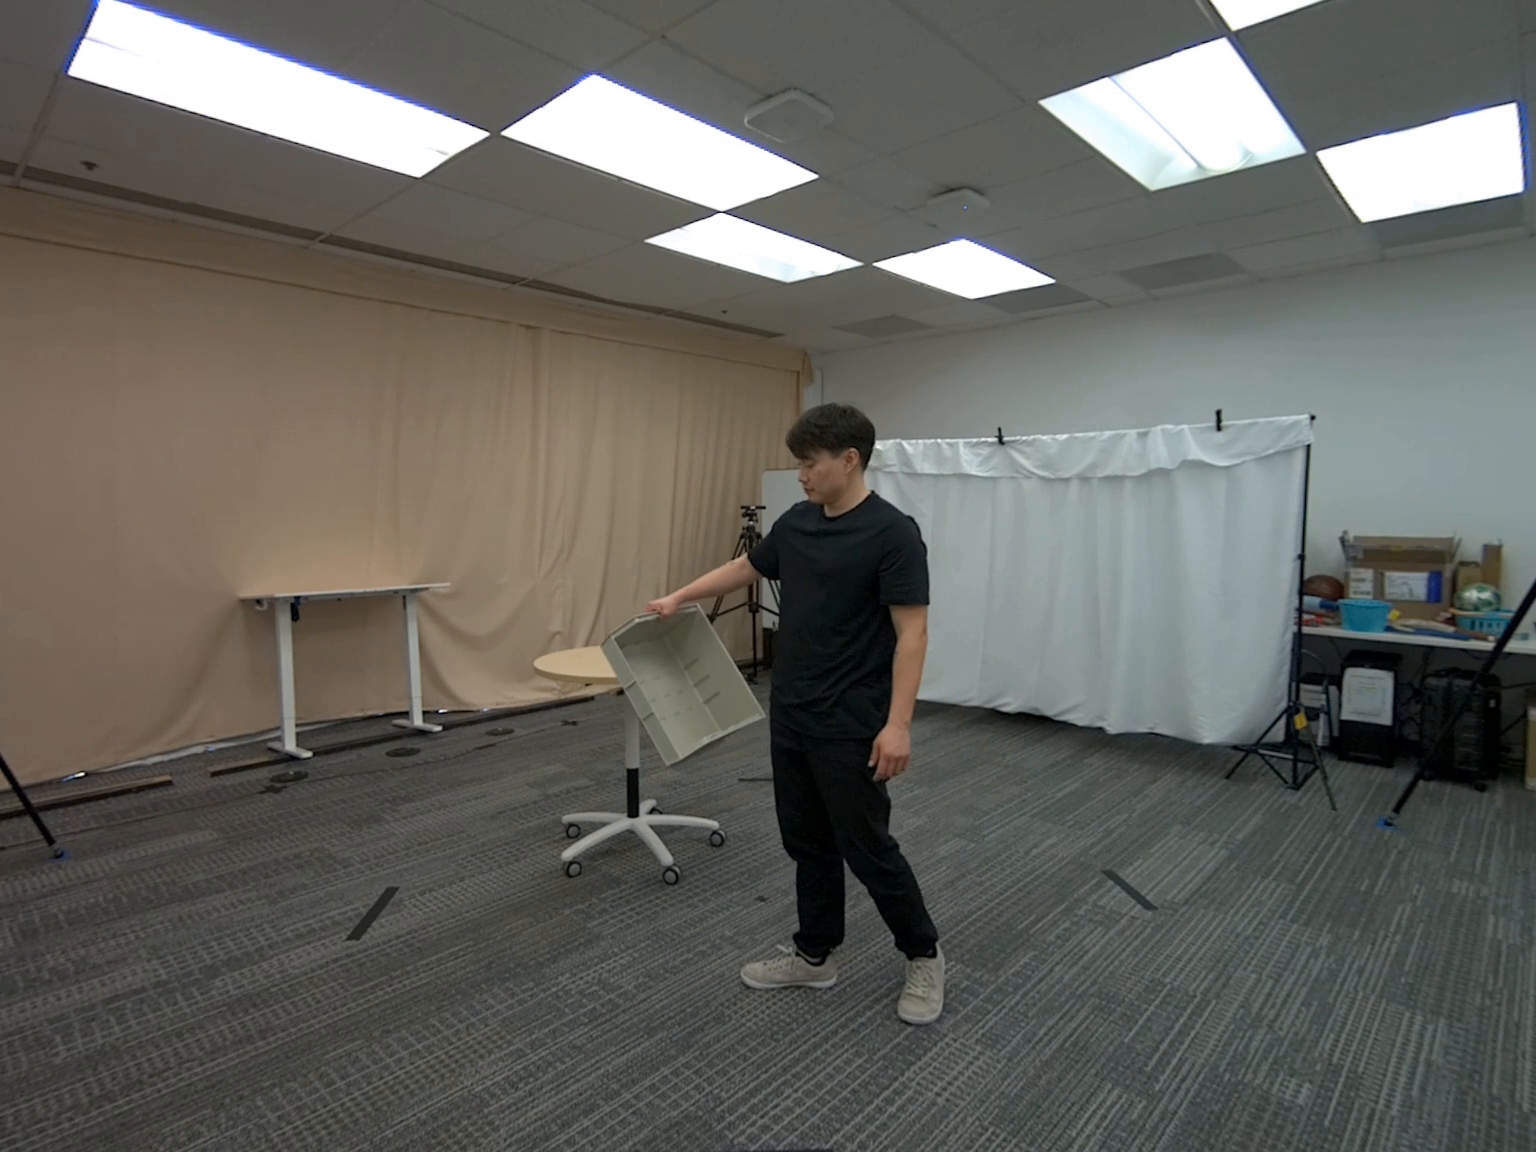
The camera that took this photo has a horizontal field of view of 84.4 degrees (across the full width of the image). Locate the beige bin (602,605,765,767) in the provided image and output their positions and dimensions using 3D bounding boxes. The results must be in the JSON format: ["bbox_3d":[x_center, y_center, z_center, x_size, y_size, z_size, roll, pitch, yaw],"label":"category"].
[{"bbox_3d":[-0.267,0.337,2.572,0.191,0.429,0.367,-40,-17,28],"label":"beige bin"}]
